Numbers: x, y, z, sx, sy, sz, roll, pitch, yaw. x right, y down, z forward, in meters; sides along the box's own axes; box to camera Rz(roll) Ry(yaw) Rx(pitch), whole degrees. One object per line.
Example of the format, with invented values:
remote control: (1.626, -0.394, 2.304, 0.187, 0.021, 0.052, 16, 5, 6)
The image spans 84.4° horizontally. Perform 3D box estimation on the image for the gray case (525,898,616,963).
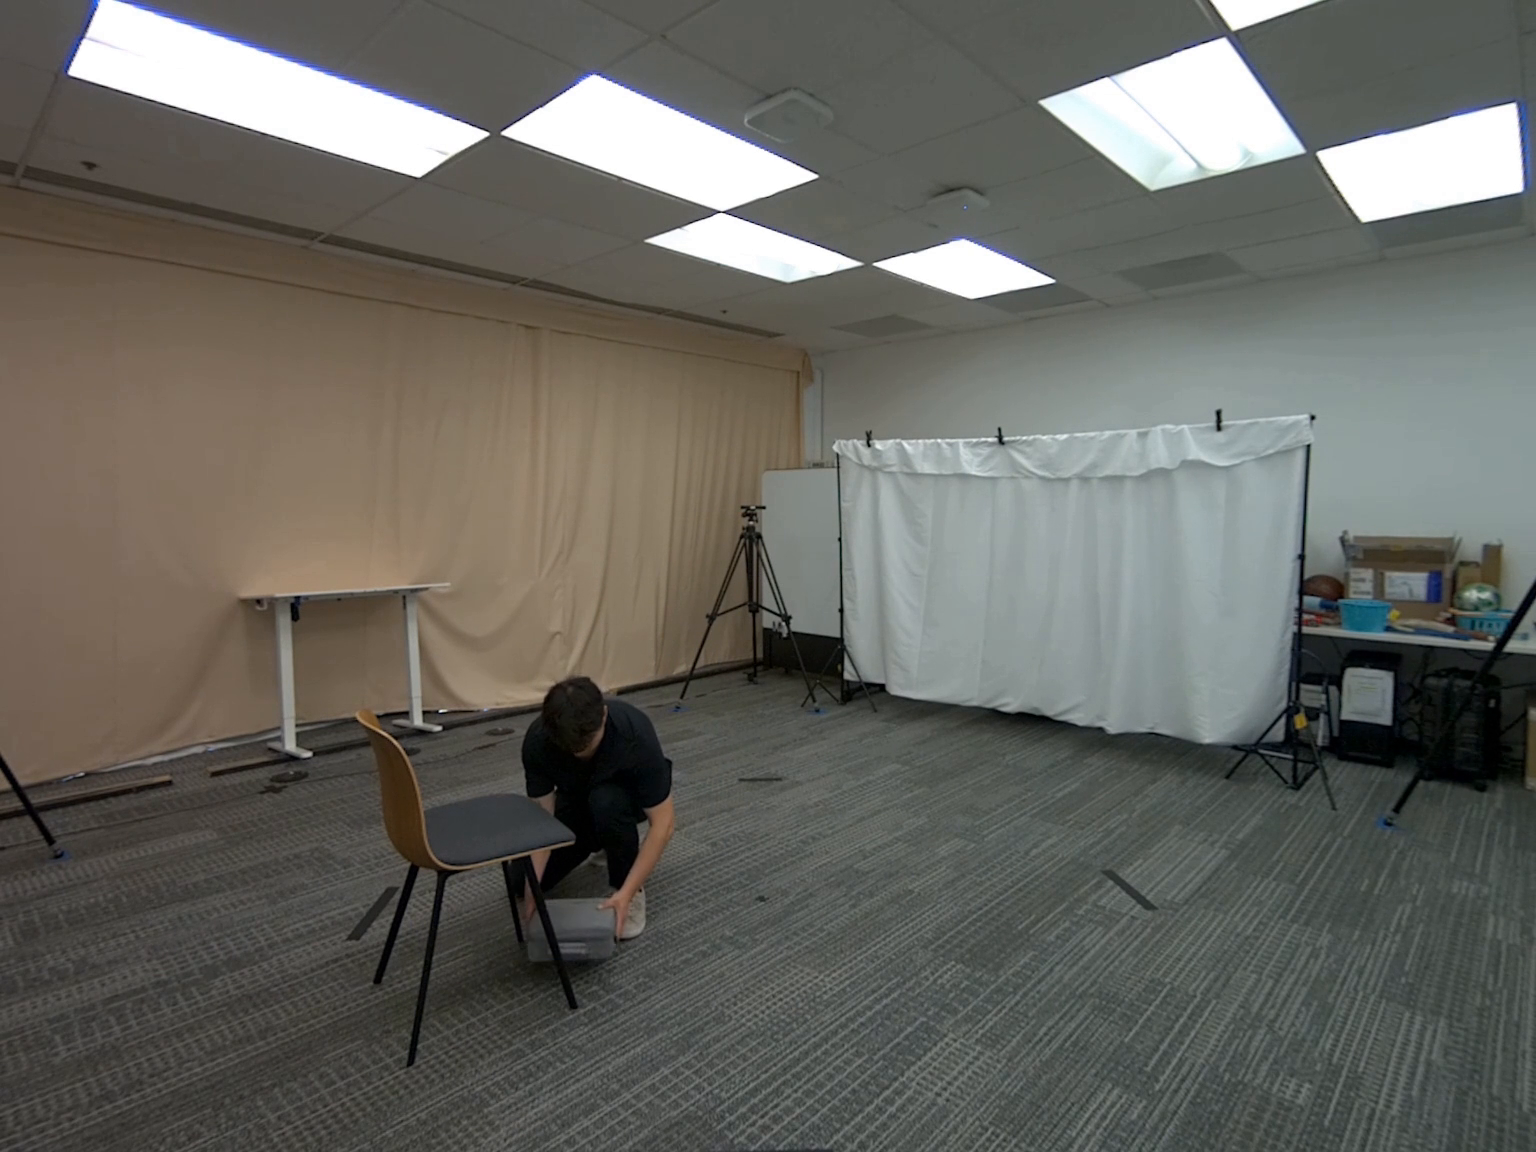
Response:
gray case: (-0.588, 1.056, 2.545, 0.256, 0.104, 0.261, 2, 1, -3)
